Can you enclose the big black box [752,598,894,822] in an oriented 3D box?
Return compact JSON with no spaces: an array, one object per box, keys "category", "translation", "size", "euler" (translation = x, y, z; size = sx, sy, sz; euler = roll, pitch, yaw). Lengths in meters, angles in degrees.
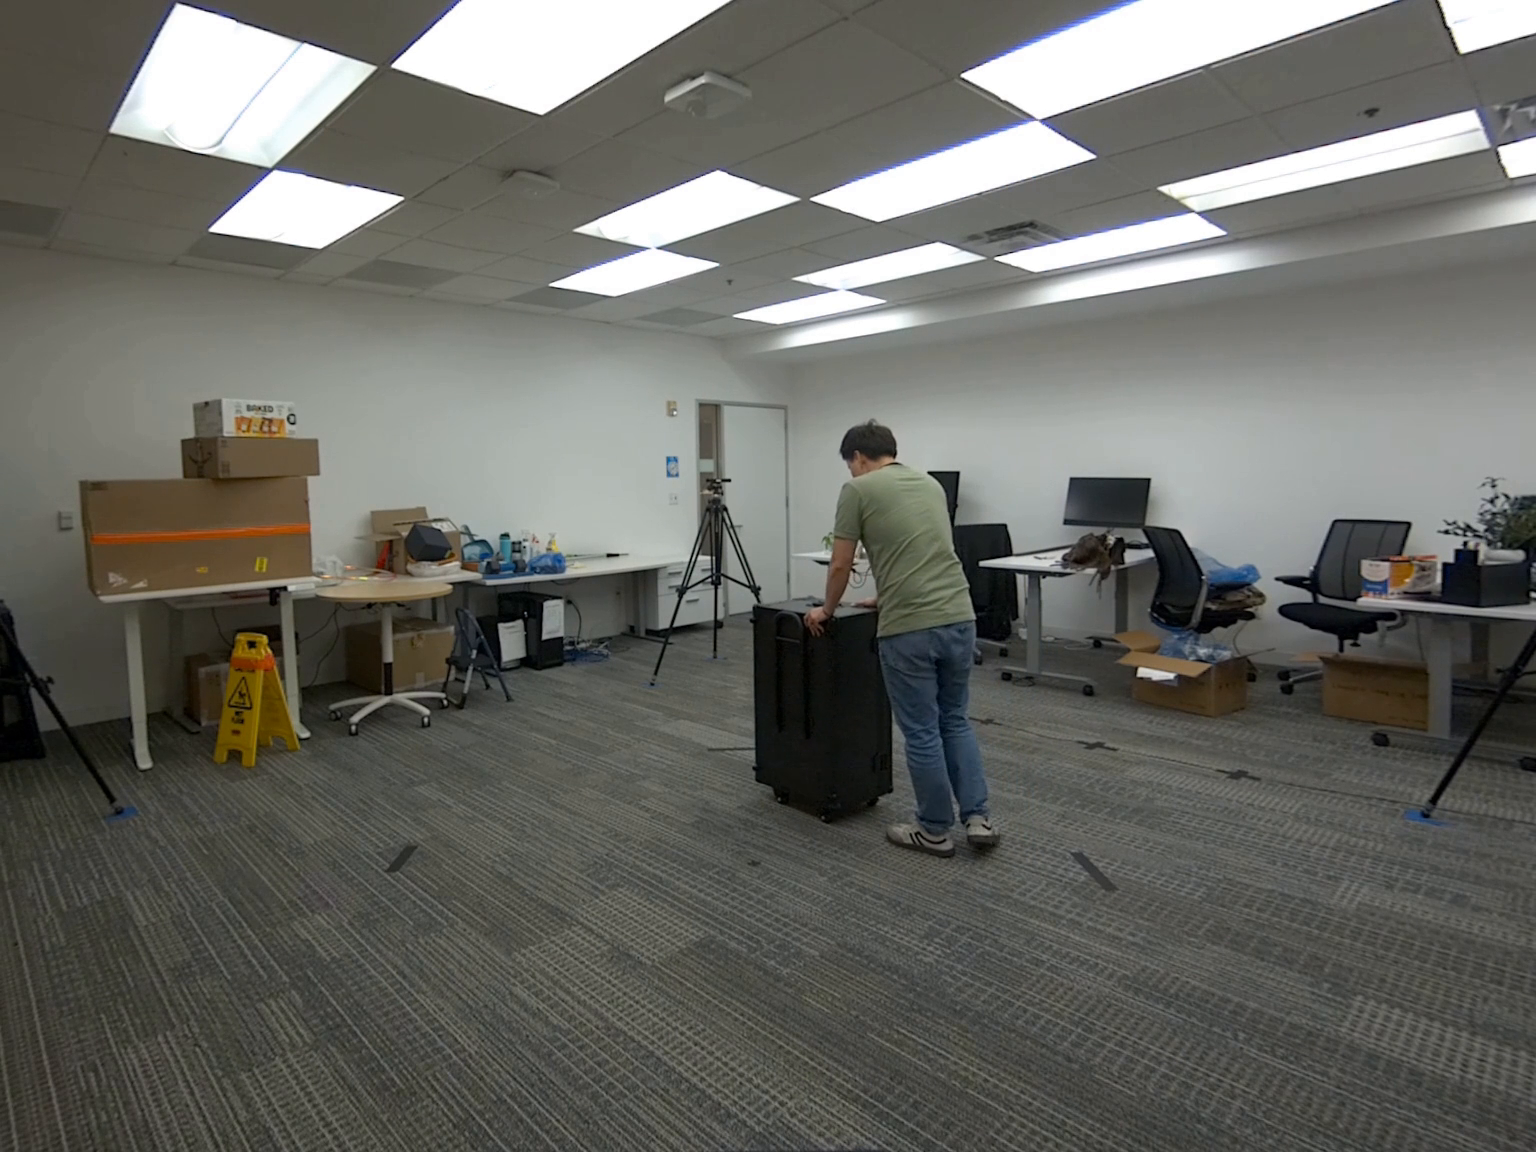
[{"category":"big black box","translation":[0.224,0.558,3.643],"size":[0.386,0.858,0.537],"euler":[-5,6,-41]}]
